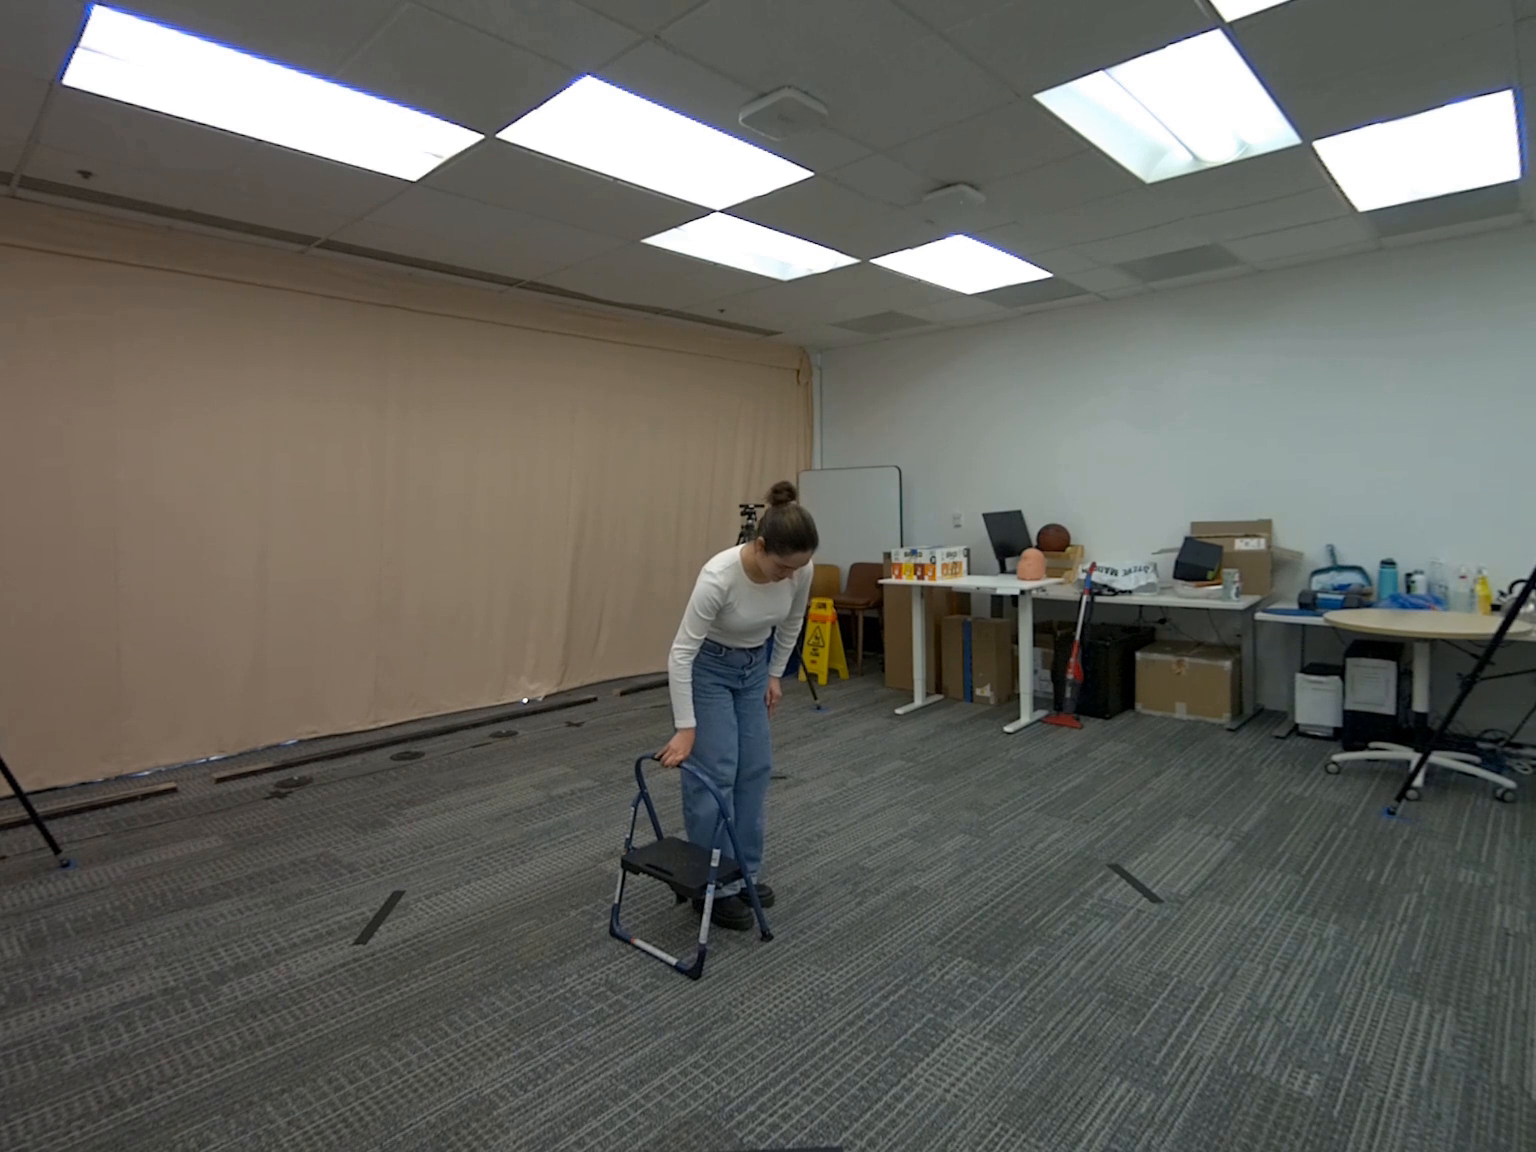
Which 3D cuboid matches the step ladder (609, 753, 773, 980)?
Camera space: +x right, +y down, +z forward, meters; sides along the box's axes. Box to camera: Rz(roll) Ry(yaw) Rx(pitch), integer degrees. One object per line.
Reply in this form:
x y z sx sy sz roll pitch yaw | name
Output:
-0.261 0.865 2.710 0.445 0.605 0.338 2 4 42 | step ladder
